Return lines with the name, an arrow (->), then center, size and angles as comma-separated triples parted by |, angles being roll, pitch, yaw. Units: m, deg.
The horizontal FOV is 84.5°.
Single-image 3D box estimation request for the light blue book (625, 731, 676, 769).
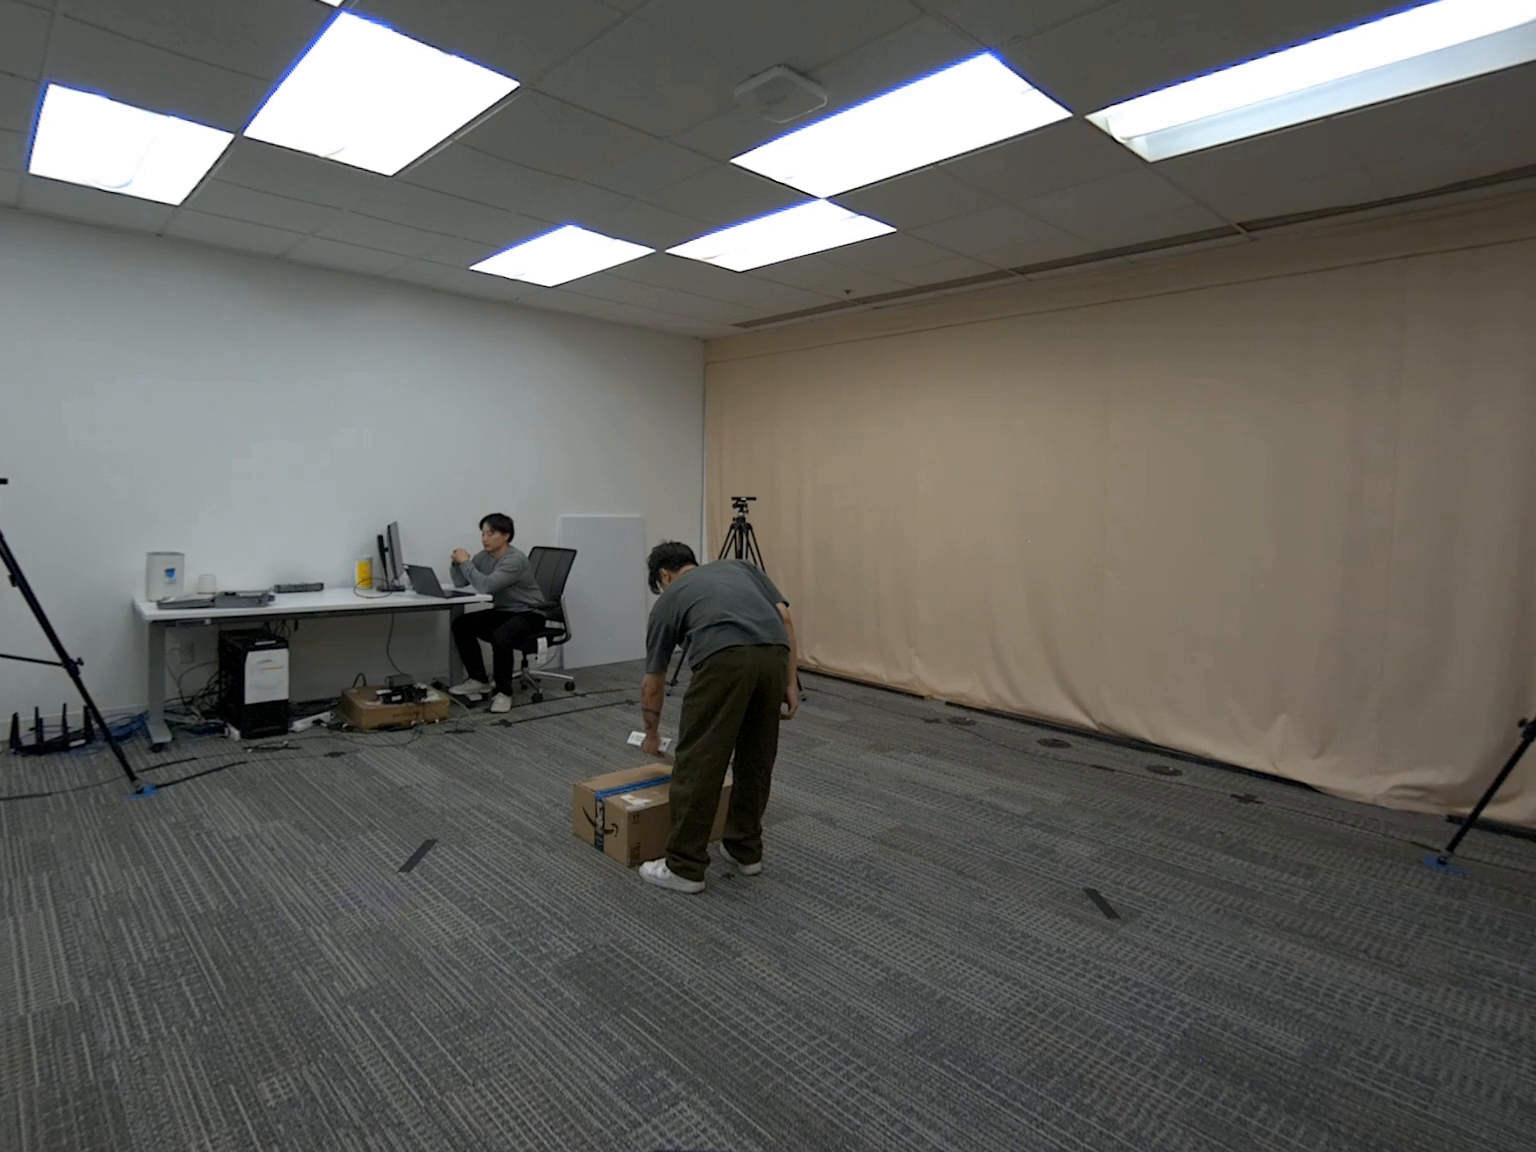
light blue book -> -0.436, 0.728, 3.489 | 0.267, 0.059, 0.186 | -1, -35, 46
